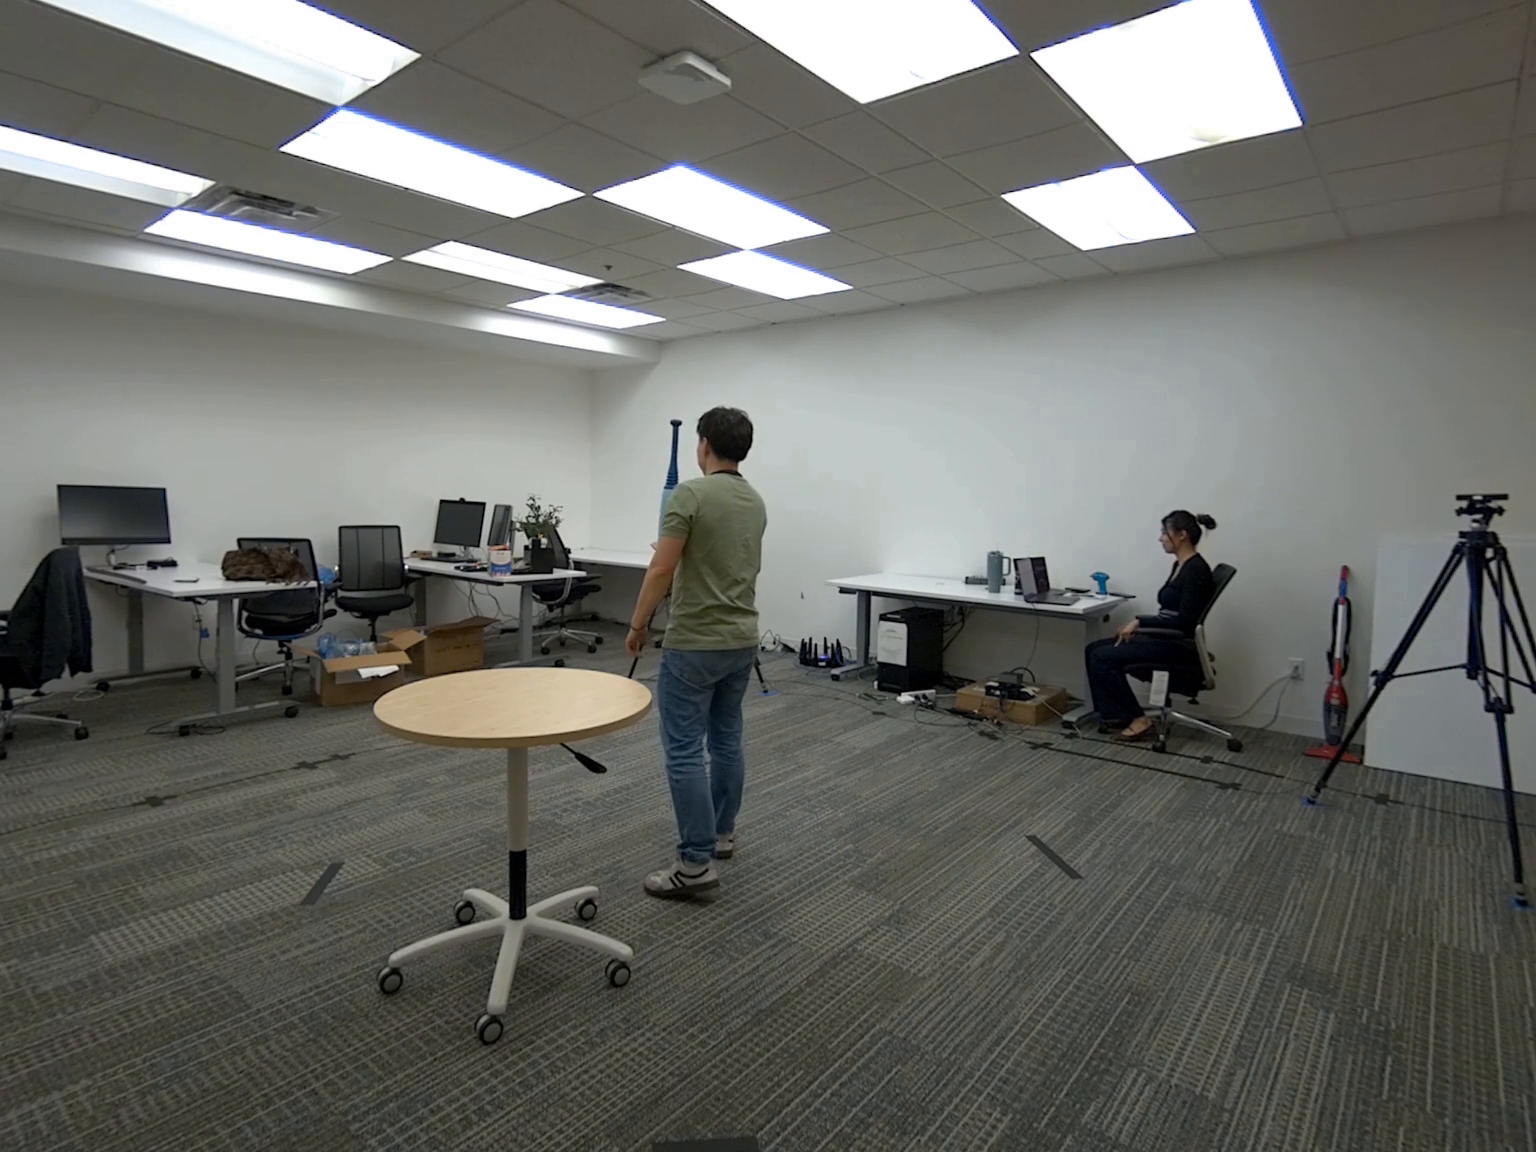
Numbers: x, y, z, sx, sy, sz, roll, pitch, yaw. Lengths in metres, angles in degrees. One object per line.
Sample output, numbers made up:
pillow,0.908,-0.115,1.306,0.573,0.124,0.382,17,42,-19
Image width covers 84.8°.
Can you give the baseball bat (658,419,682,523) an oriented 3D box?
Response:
baseball bat,-0.415,-0.388,3.557,0.089,0.542,0.089,3,3,-2
